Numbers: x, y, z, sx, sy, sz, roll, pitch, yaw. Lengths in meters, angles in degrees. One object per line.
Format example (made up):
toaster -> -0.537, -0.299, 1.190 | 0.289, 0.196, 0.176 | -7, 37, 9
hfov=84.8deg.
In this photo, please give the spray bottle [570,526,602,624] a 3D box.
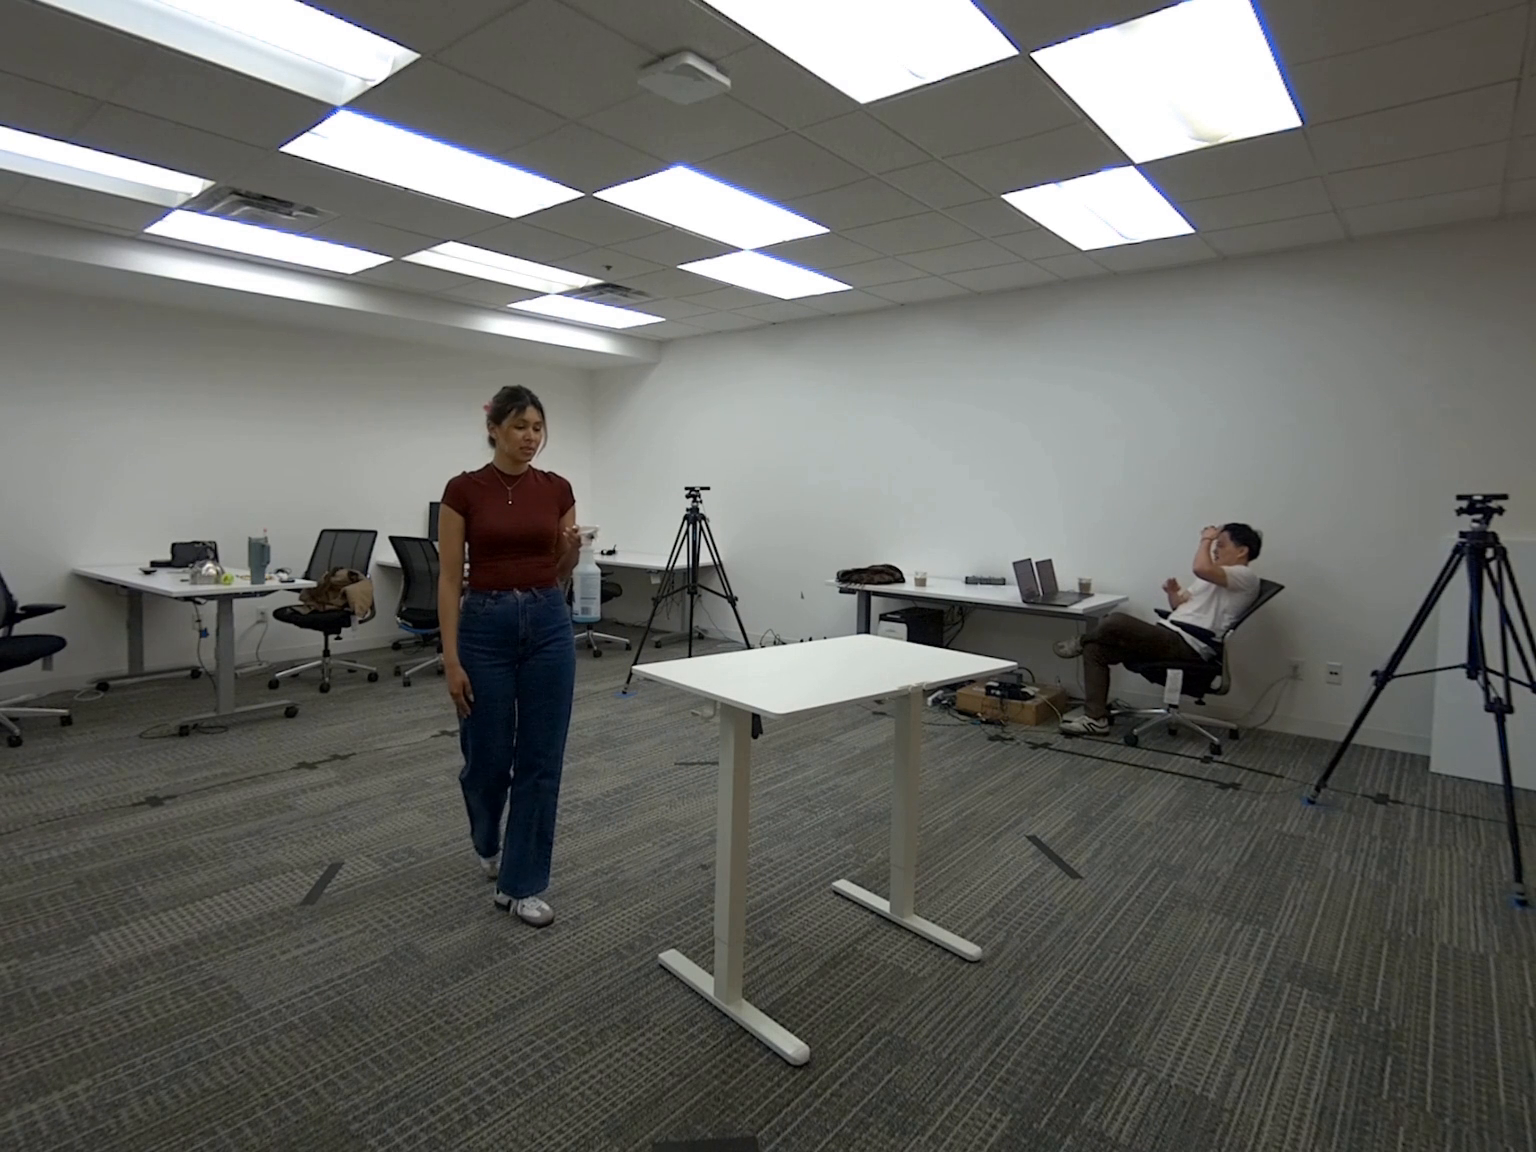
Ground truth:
spray bottle -> -0.585, -0.007, 2.638 | 0.085, 0.296, 0.093 | -3, 3, -33
